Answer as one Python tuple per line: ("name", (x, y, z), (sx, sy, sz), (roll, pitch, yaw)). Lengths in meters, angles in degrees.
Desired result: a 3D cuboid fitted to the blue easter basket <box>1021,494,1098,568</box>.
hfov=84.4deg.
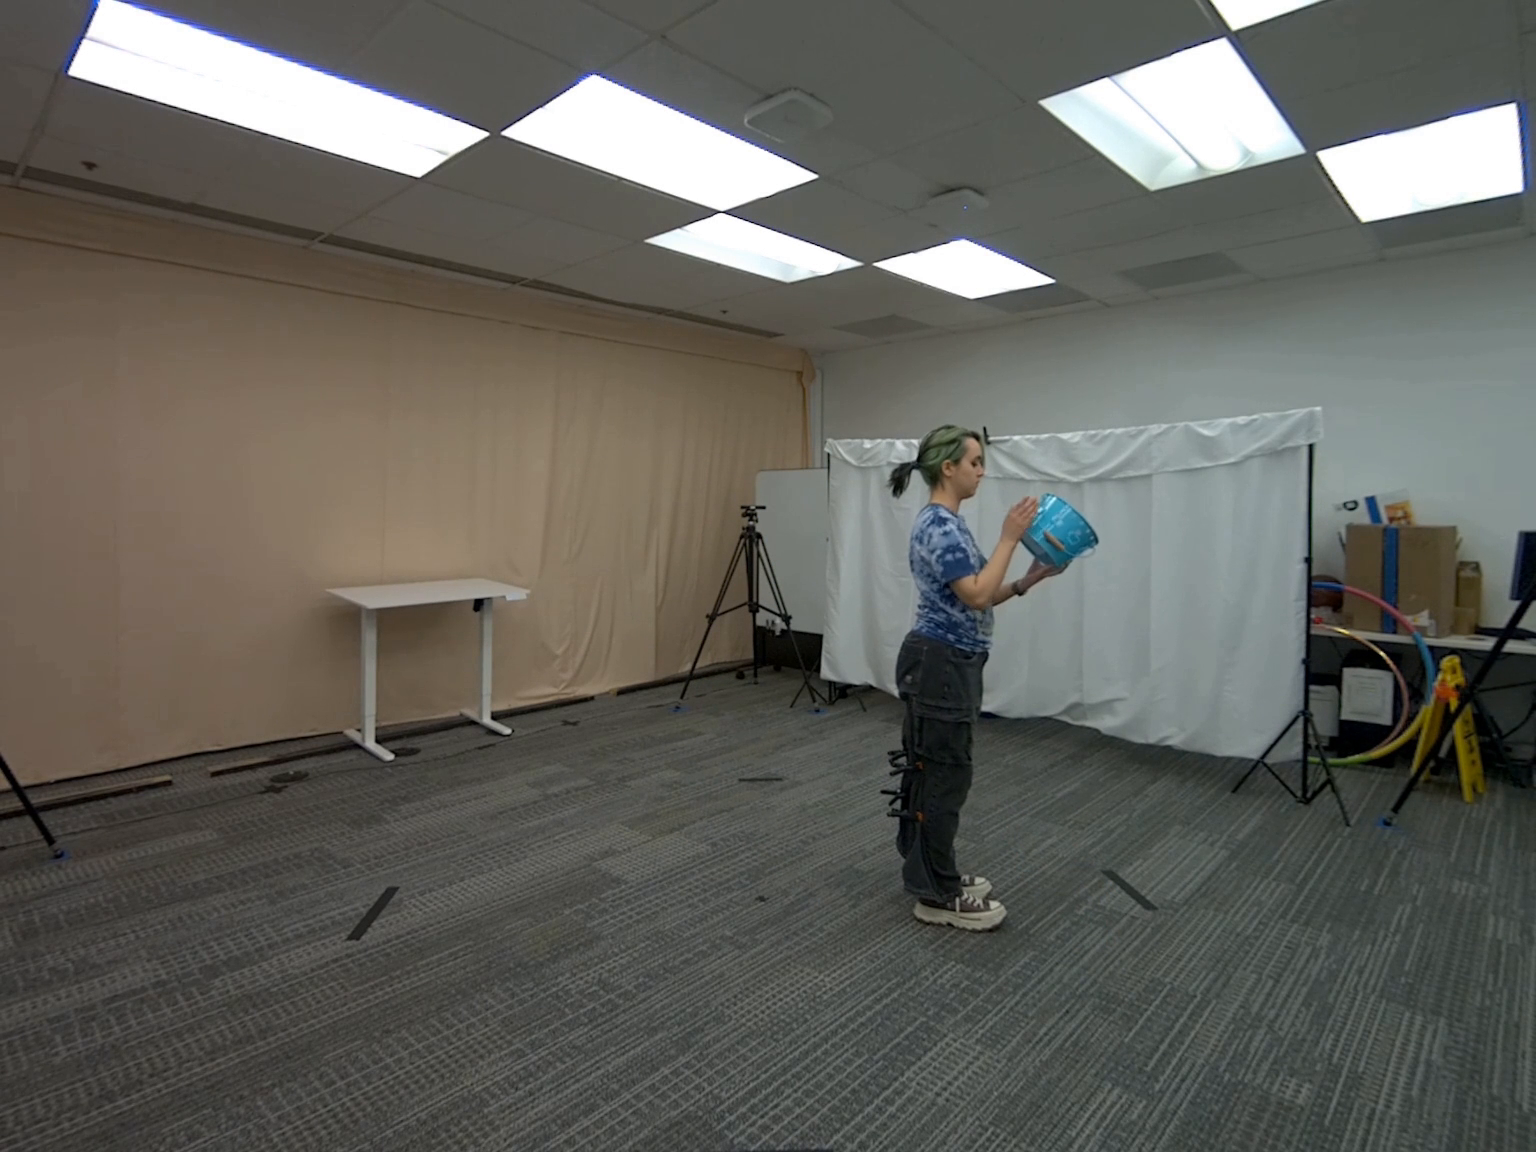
("blue easter basket", (0.951, -0.134, 2.756), (0.156, 0.243, 0.244), (-41, 3, 2))
